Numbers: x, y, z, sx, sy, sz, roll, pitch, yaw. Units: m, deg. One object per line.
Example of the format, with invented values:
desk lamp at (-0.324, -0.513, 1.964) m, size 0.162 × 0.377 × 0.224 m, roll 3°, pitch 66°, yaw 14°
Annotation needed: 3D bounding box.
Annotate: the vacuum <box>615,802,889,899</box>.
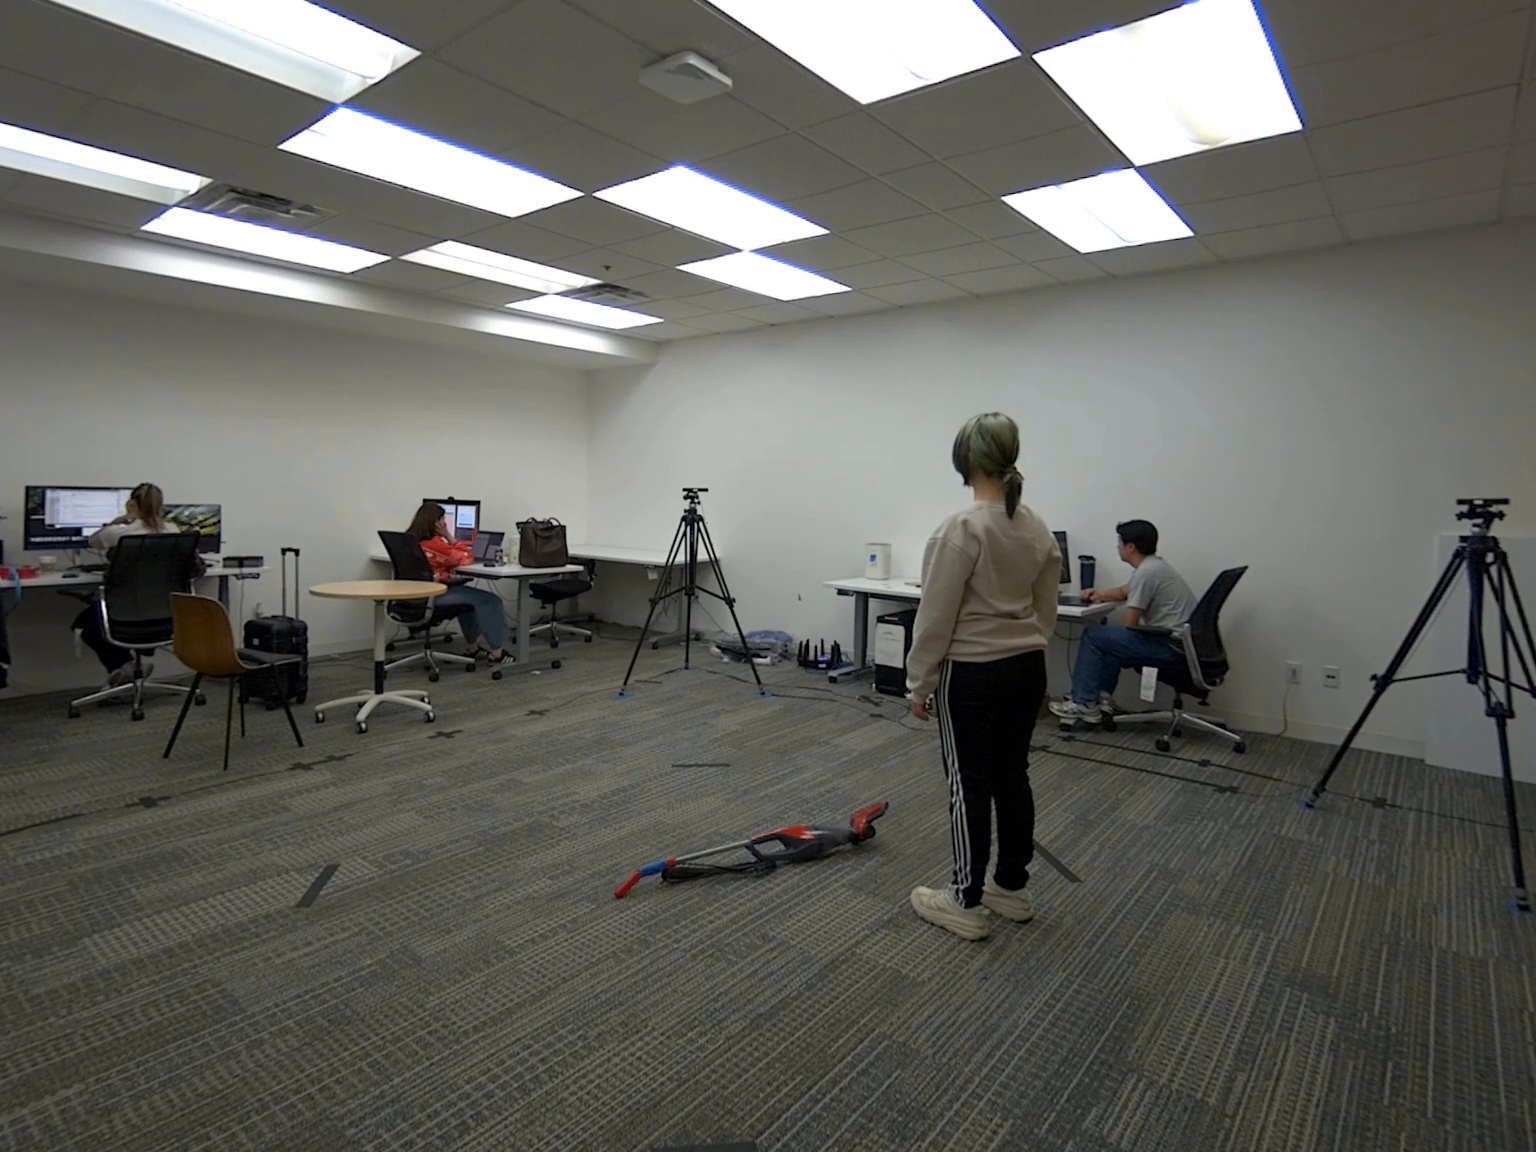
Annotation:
vacuum at (-0.063, 1.023, 3.121) m, size 1.025 × 0.148 × 0.252 m, roll -7°, pitch -24°, yaw -27°
